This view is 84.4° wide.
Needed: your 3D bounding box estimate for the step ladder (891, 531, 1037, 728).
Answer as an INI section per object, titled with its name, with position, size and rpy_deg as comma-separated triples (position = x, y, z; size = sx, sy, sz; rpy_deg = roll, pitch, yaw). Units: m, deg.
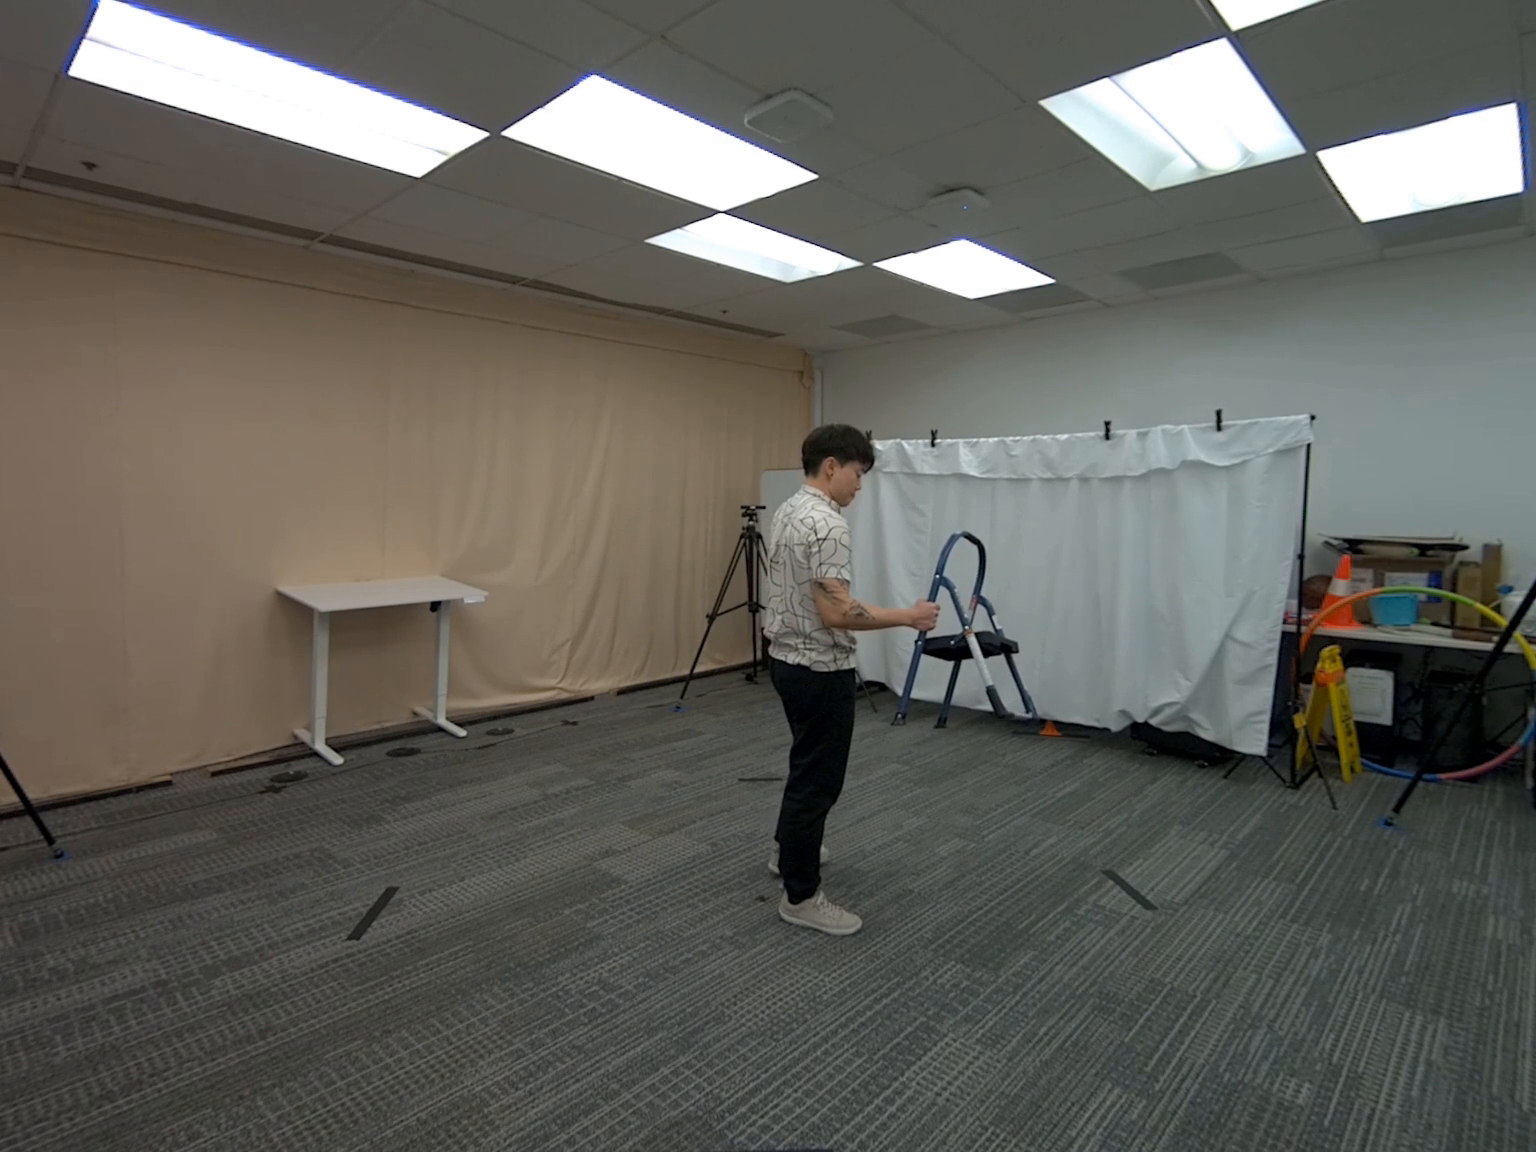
[step ladder]
position = 0.618, 0.176, 2.743
size = 0.358, 0.612, 0.416
rpy_deg = -11, -16, 29
